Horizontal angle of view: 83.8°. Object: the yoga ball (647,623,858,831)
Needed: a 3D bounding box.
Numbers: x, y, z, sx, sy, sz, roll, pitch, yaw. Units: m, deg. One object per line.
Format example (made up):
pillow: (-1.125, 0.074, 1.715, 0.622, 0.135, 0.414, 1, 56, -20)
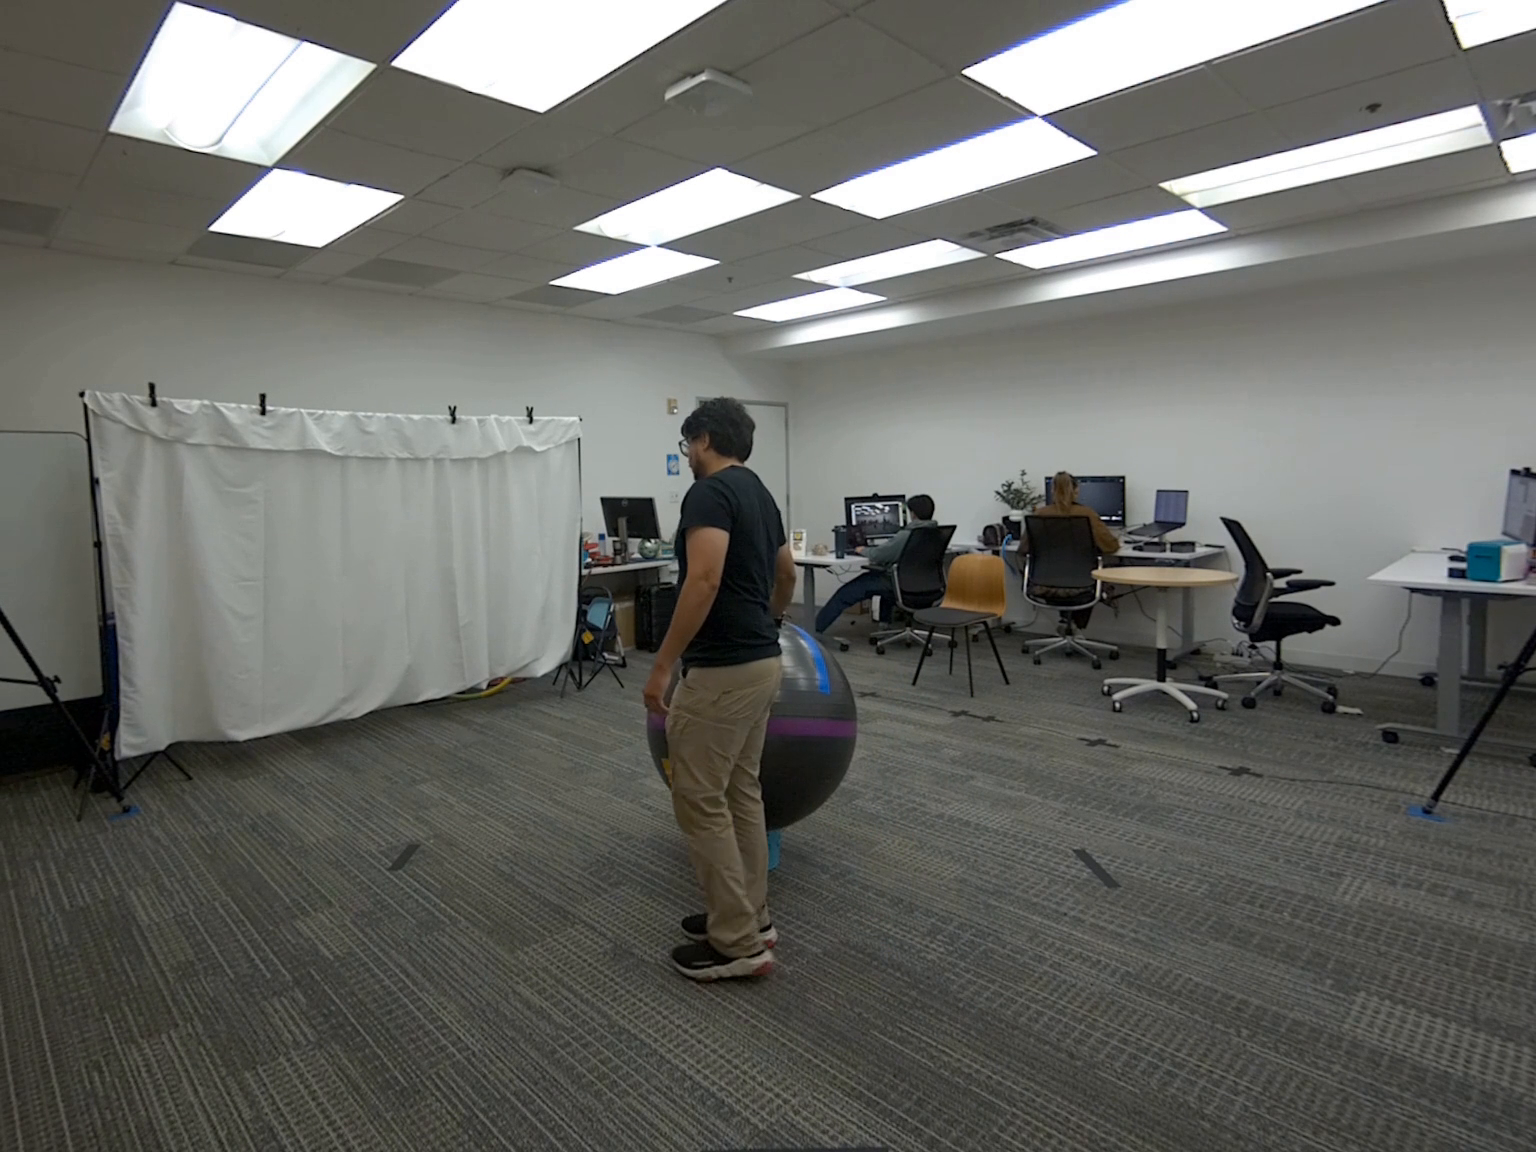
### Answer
yoga ball: (-0.058, 0.529, 3.103, 0.757, 0.755, 0.762, -1, 5, -2)
